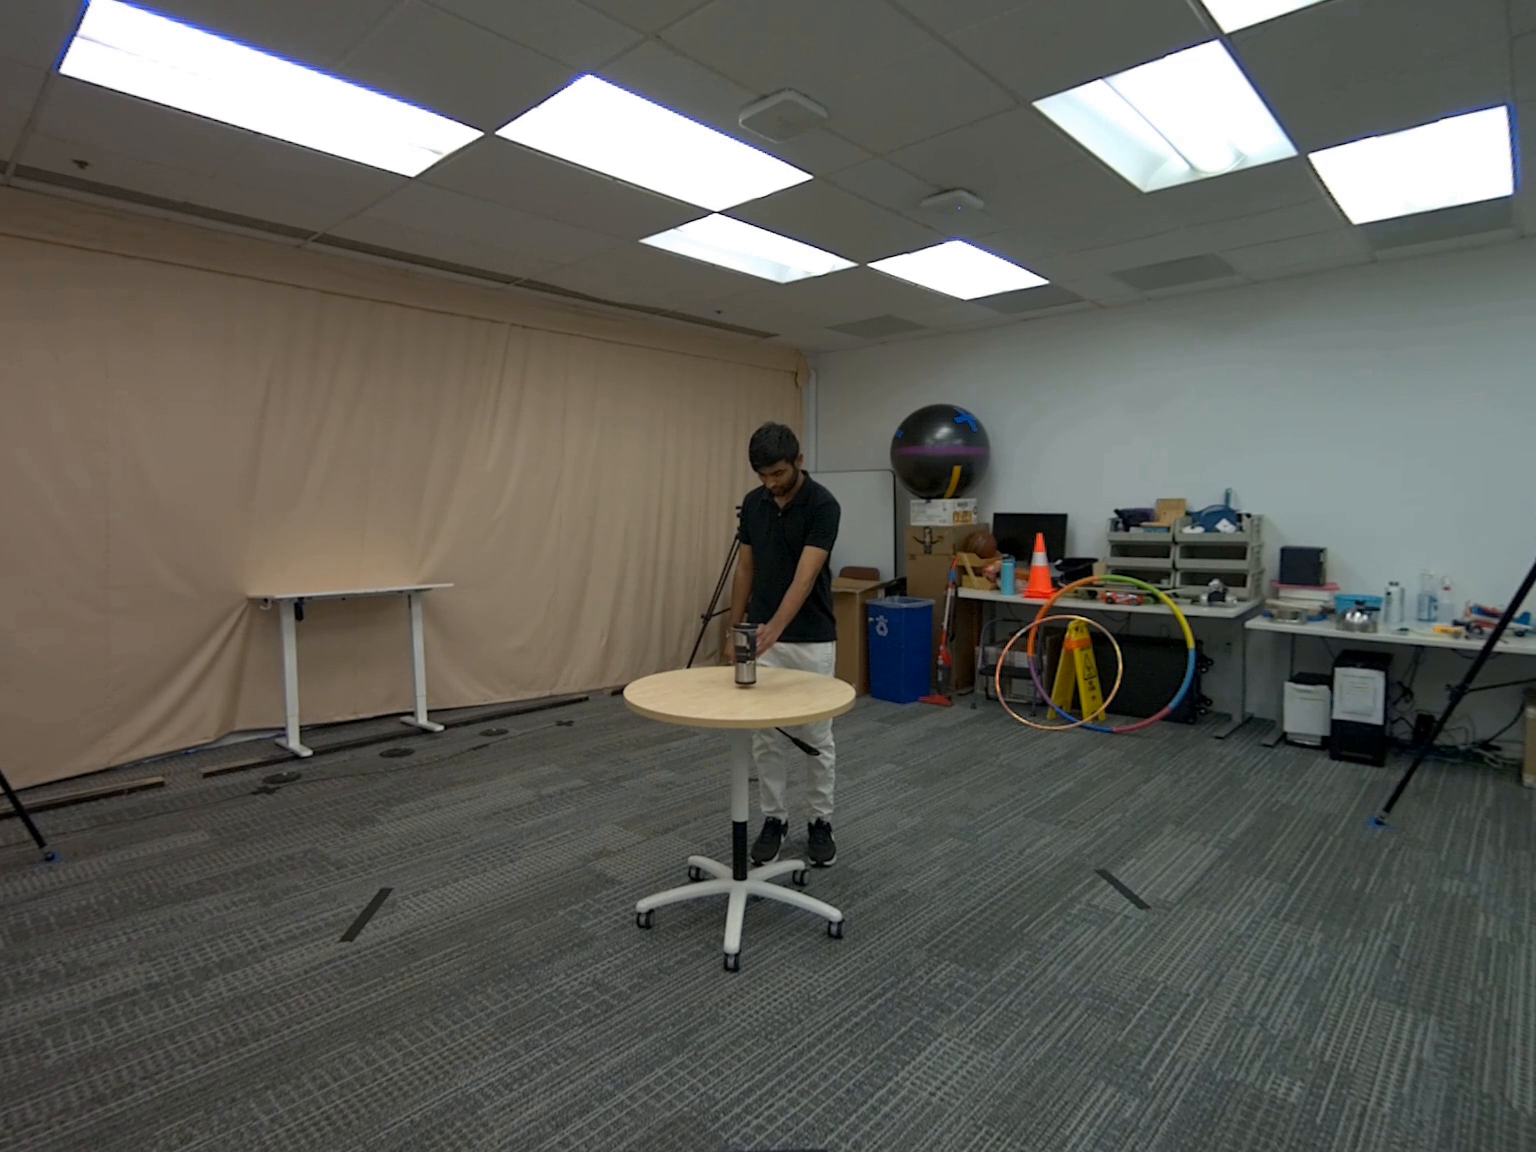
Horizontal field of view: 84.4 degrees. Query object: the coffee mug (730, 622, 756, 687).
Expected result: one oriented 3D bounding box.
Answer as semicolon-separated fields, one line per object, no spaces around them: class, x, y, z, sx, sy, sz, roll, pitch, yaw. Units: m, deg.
coffee mug;-0.078;0.261;2.807;0.089;0.203;0.120;0;1;10
